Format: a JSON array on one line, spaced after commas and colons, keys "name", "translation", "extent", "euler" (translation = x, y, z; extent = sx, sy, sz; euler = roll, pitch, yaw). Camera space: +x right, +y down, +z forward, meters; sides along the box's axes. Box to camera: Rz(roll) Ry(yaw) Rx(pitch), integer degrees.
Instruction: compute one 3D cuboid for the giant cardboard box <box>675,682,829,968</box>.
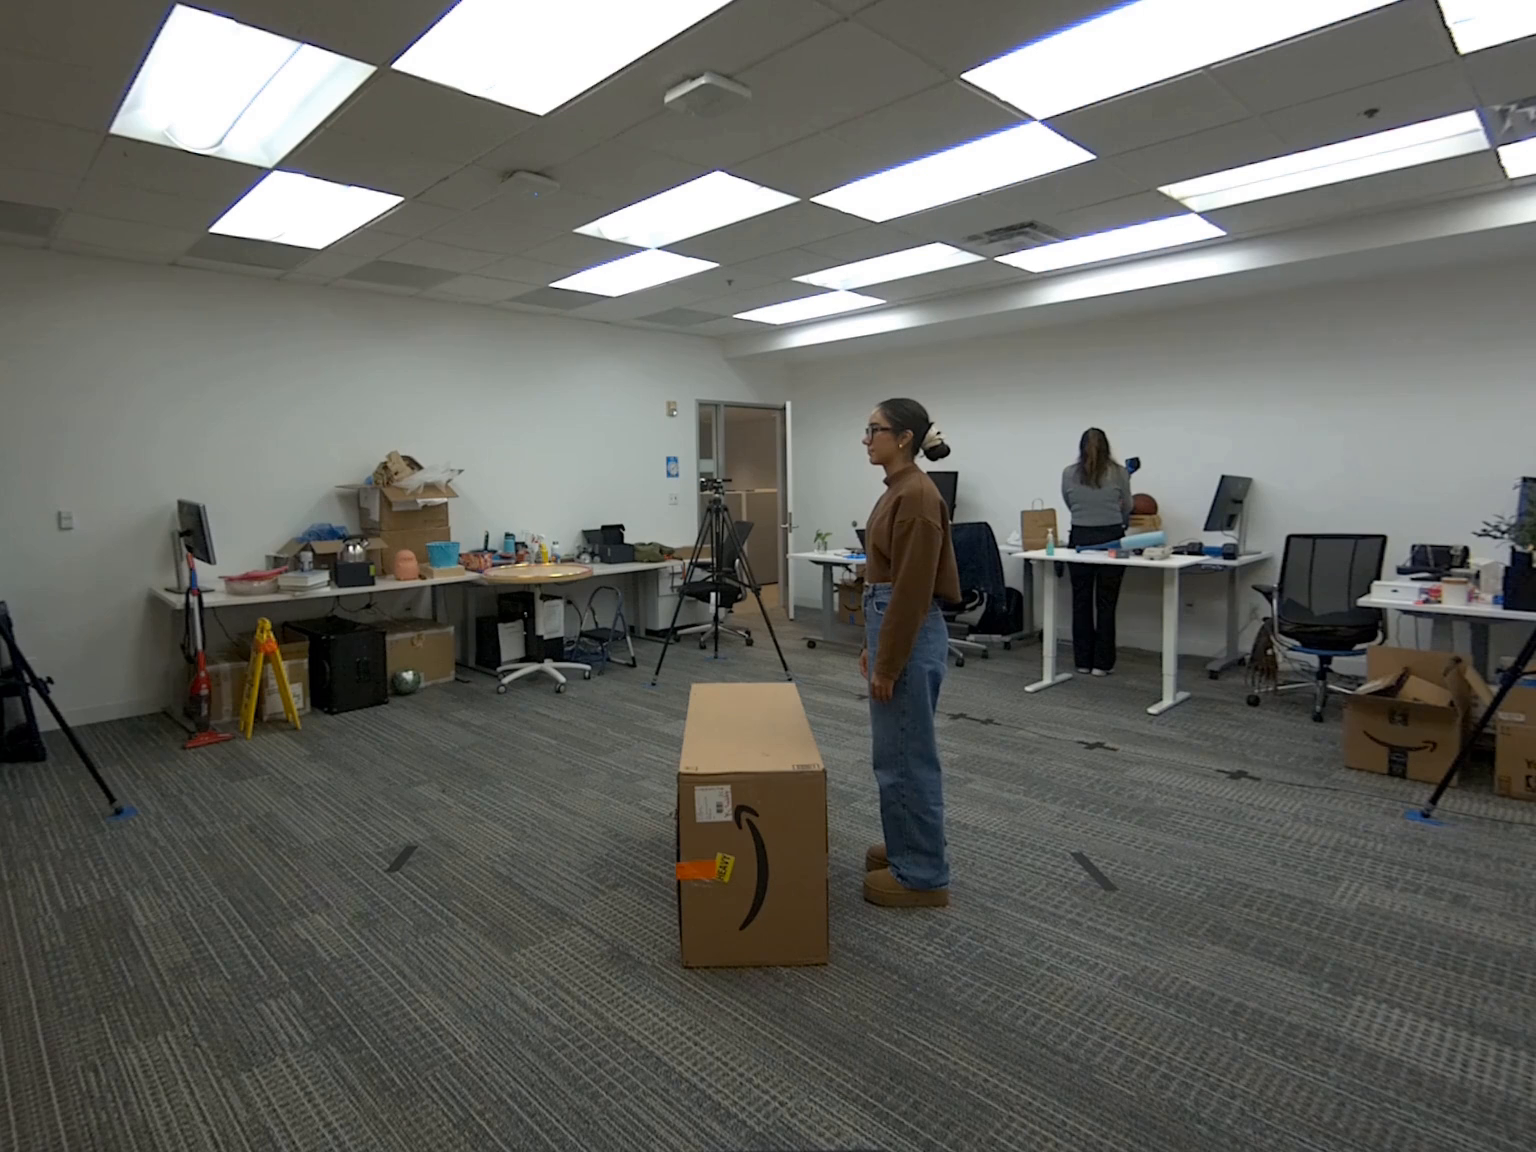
[{"name": "giant cardboard box", "translation": [-0.071, 0.777, 2.939], "extent": [0.425, 0.575, 1.032], "euler": [-1, 6, -3]}]
